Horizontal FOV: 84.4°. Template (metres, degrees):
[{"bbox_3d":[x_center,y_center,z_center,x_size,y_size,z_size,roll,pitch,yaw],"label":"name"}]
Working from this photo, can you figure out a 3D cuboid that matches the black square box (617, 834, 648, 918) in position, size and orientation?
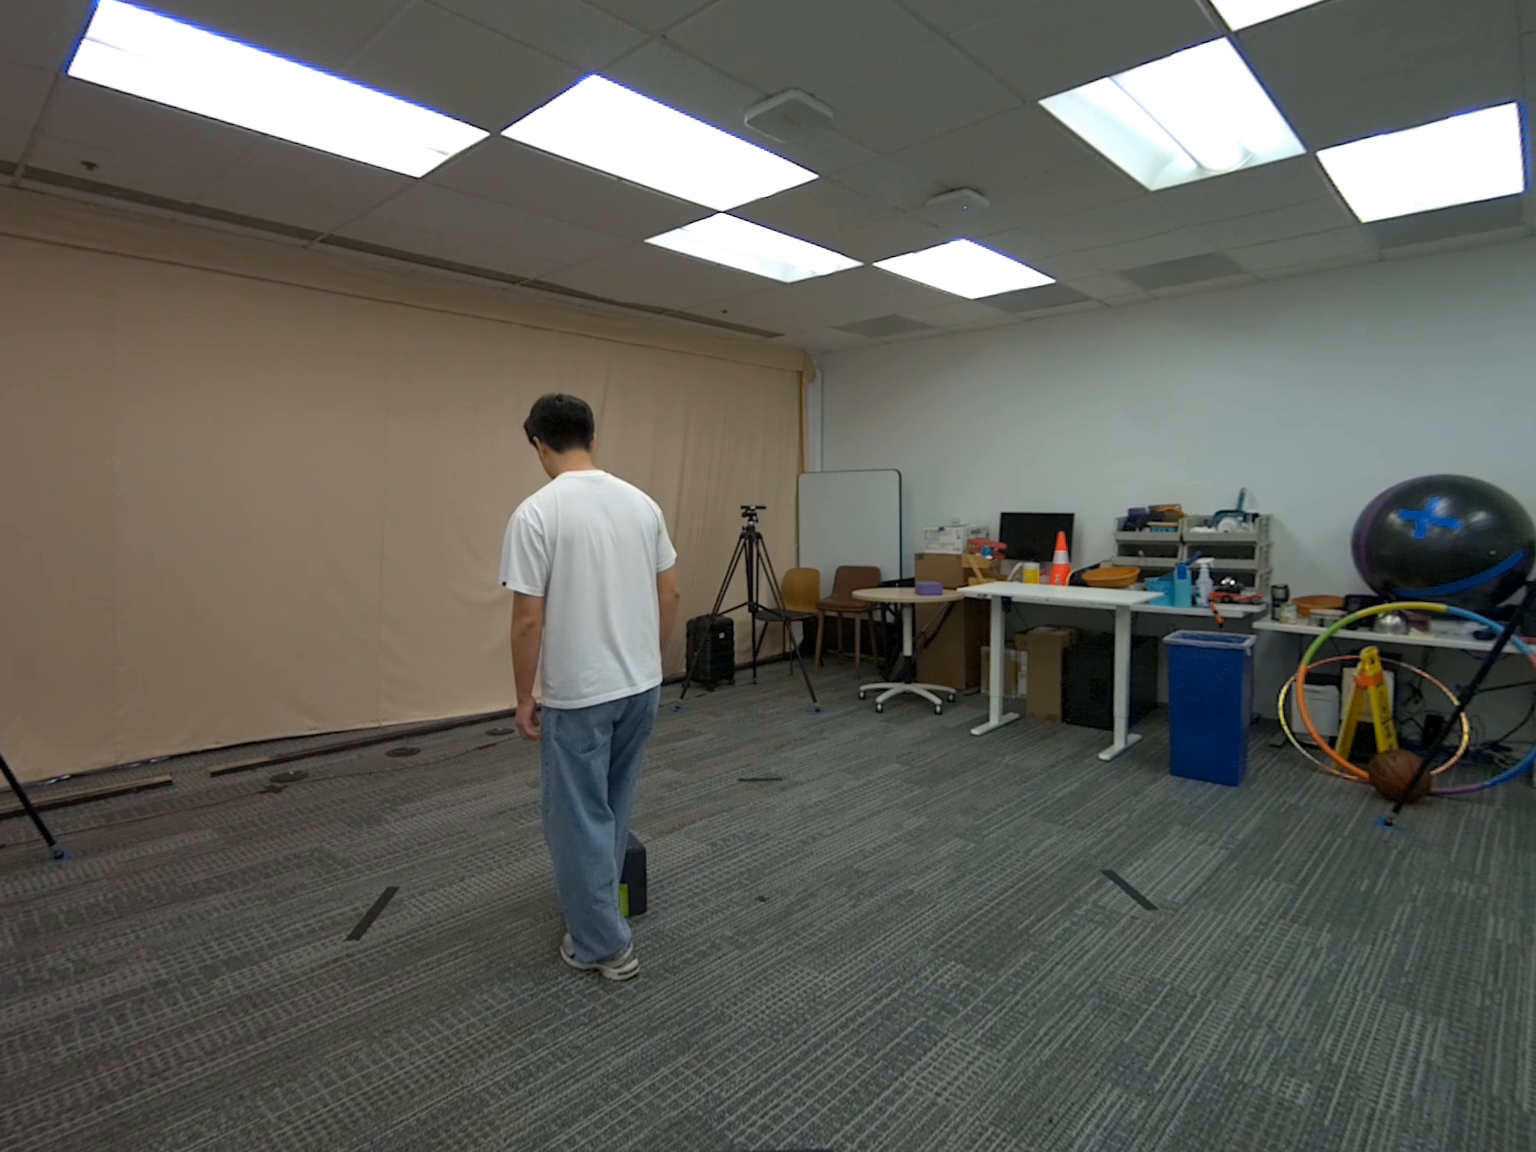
[{"bbox_3d":[-0.526,1.032,2.943,0.152,0.227,0.223,-2,4,-28],"label":"black square box"}]
